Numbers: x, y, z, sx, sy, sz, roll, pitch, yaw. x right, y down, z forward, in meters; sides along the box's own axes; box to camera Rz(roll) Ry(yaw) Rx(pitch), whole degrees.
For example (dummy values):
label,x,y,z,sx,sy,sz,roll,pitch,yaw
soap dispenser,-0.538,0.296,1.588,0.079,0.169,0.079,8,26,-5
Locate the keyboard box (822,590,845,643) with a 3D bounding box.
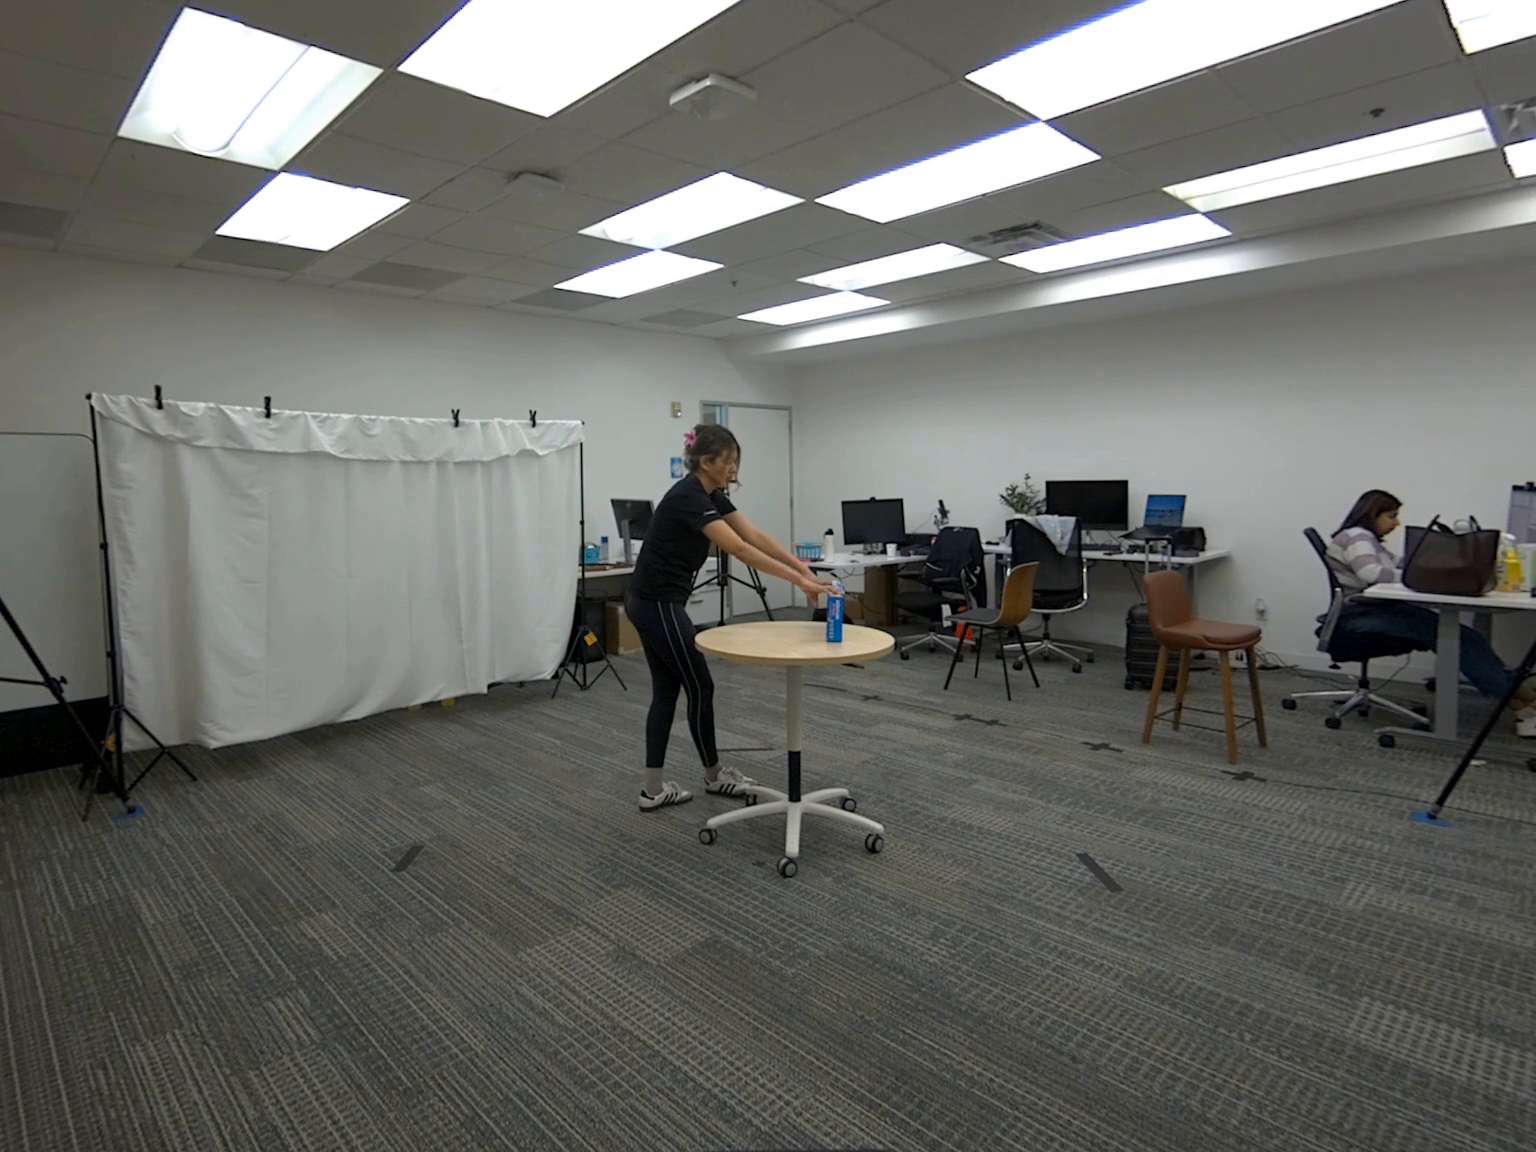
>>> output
label,x,y,z,sx,sy,sz,roll,pitch,yaw
keyboard box,0.262,0.139,3.410,0.059,0.175,0.435,1,6,5
